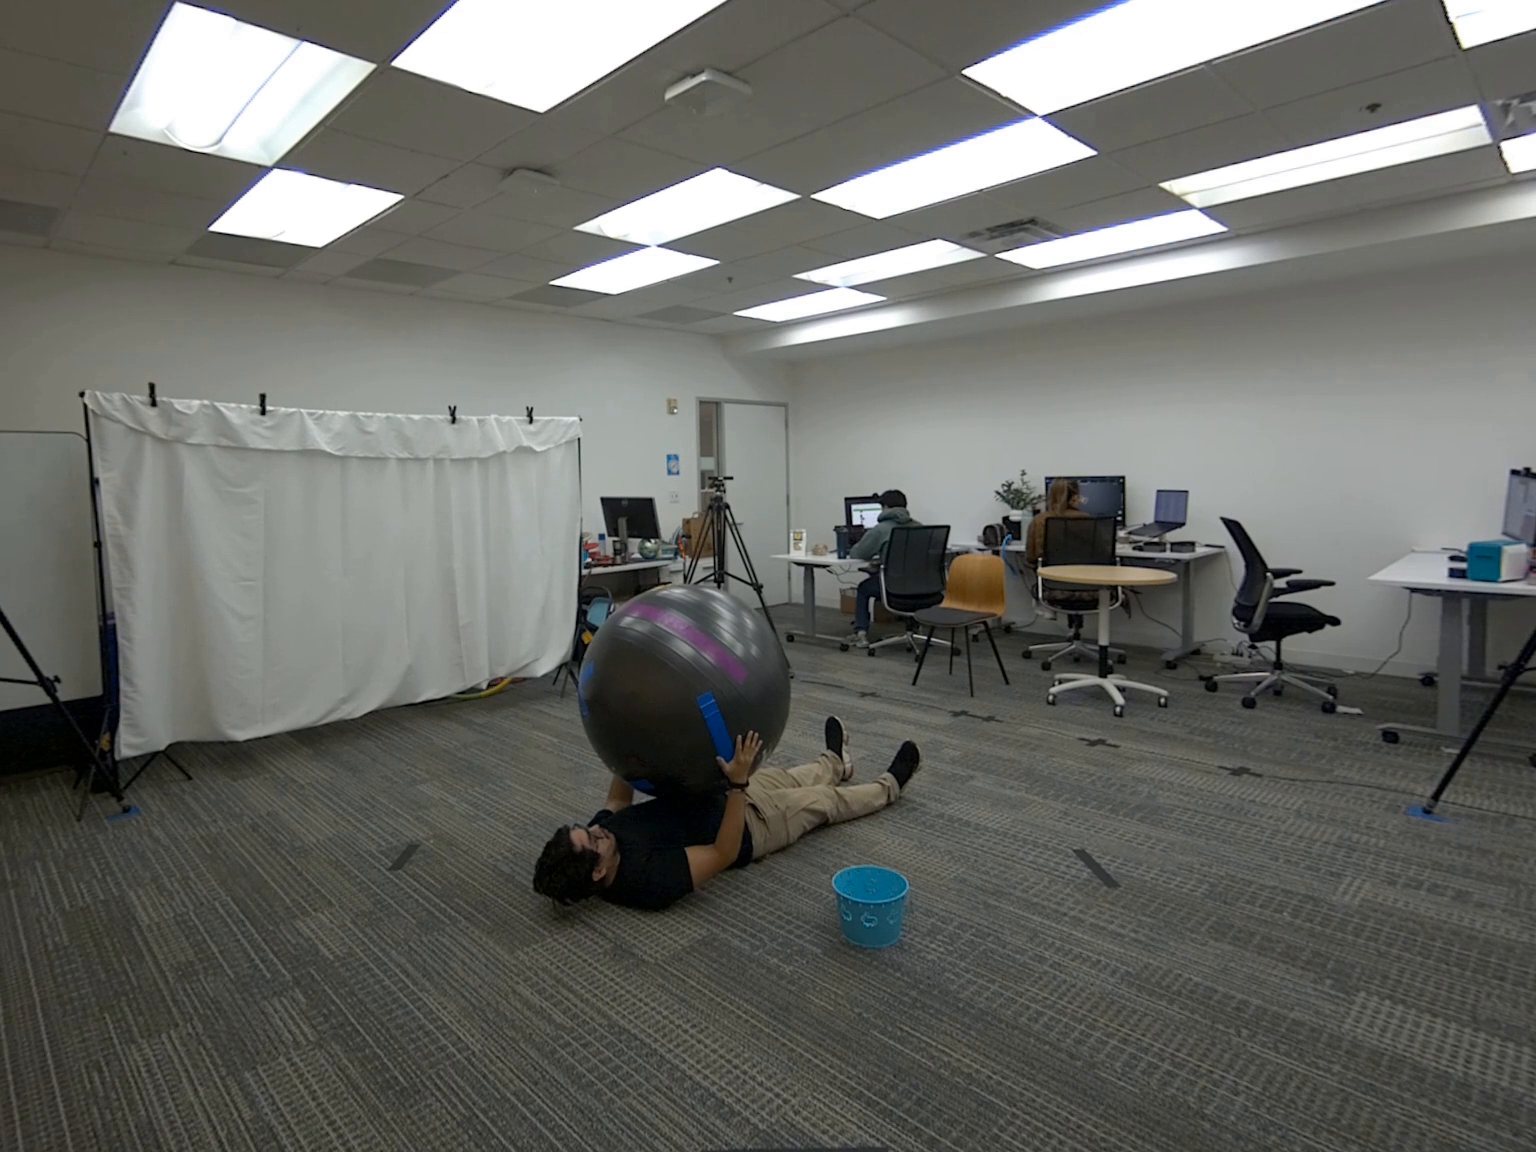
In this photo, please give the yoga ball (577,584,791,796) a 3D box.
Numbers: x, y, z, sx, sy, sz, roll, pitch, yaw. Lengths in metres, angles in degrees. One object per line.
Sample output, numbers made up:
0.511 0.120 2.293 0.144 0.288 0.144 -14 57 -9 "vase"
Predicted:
-0.294 0.410 3.059 0.757 0.755 0.761 -1 4 -2 "yoga ball"
